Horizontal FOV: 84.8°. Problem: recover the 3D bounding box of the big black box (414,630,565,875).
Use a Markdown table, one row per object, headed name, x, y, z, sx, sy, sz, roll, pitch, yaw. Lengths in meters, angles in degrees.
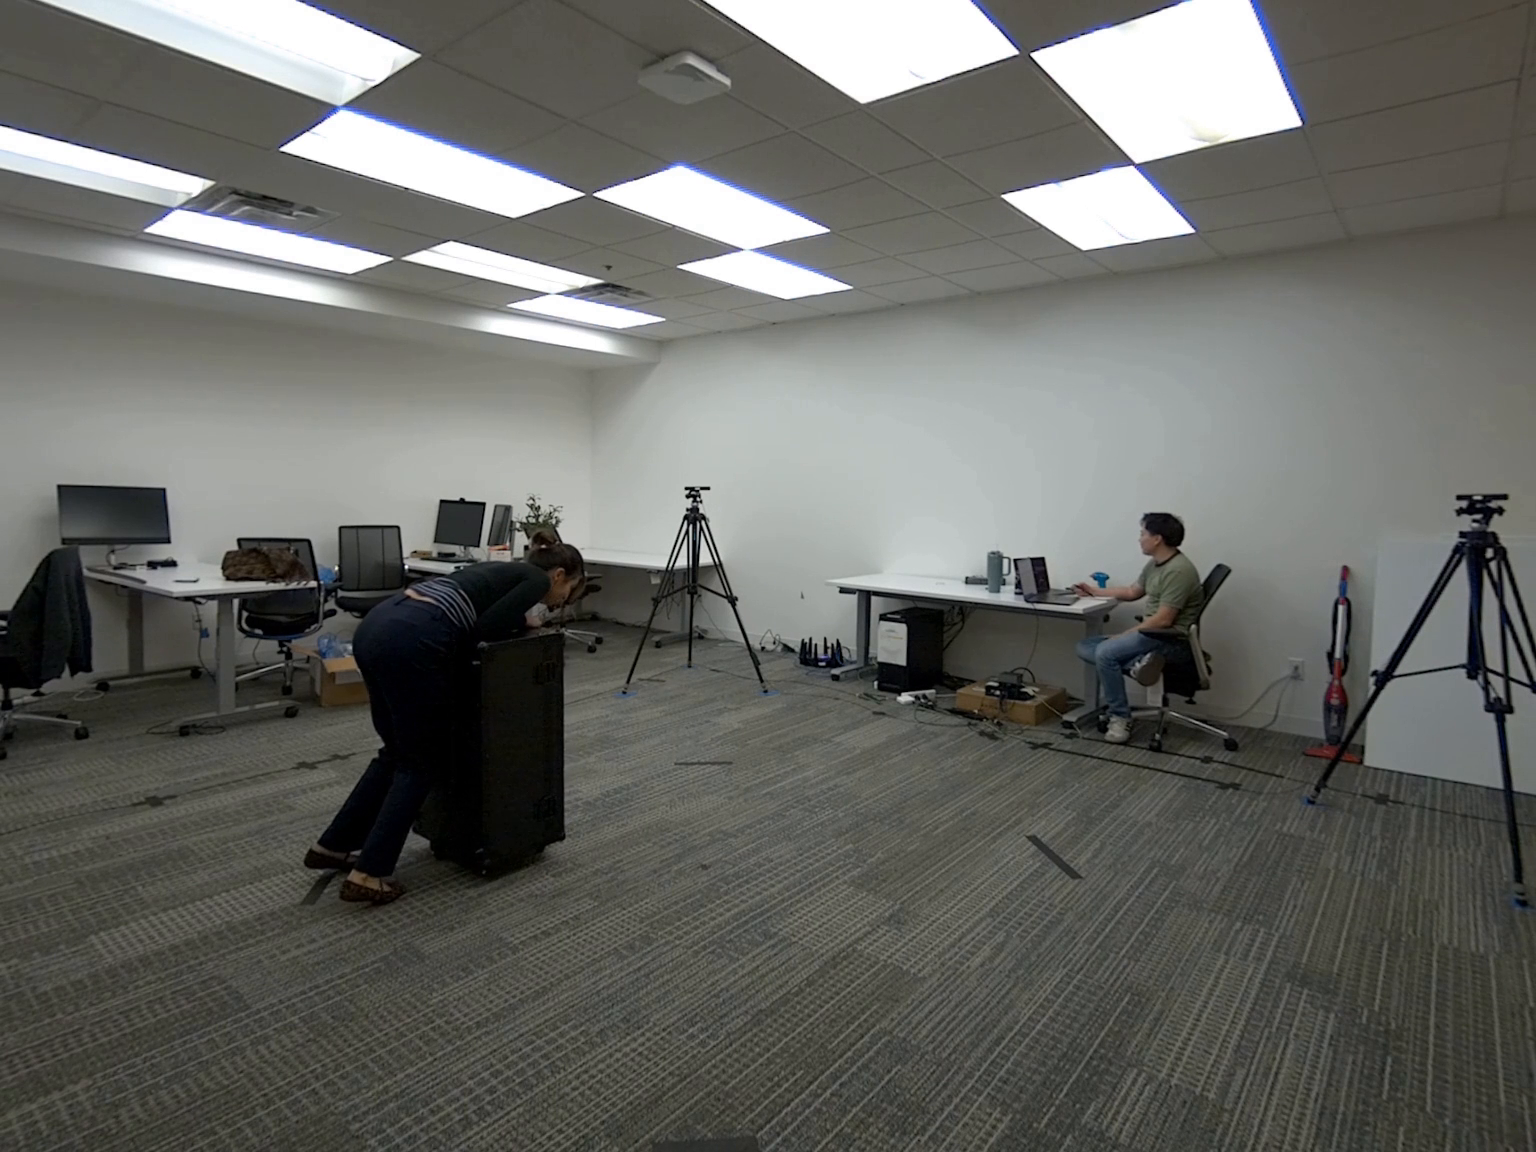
| name | x | y | z | sx | sy | sz | roll | pitch | yaw |
| --- | --- | --- | --- | --- | --- | --- | --- | --- | --- |
| big black box | -1.064 | 0.627 | 3.172 | 0.539 | 0.858 | 0.385 | 4 | 6 | 40 |
